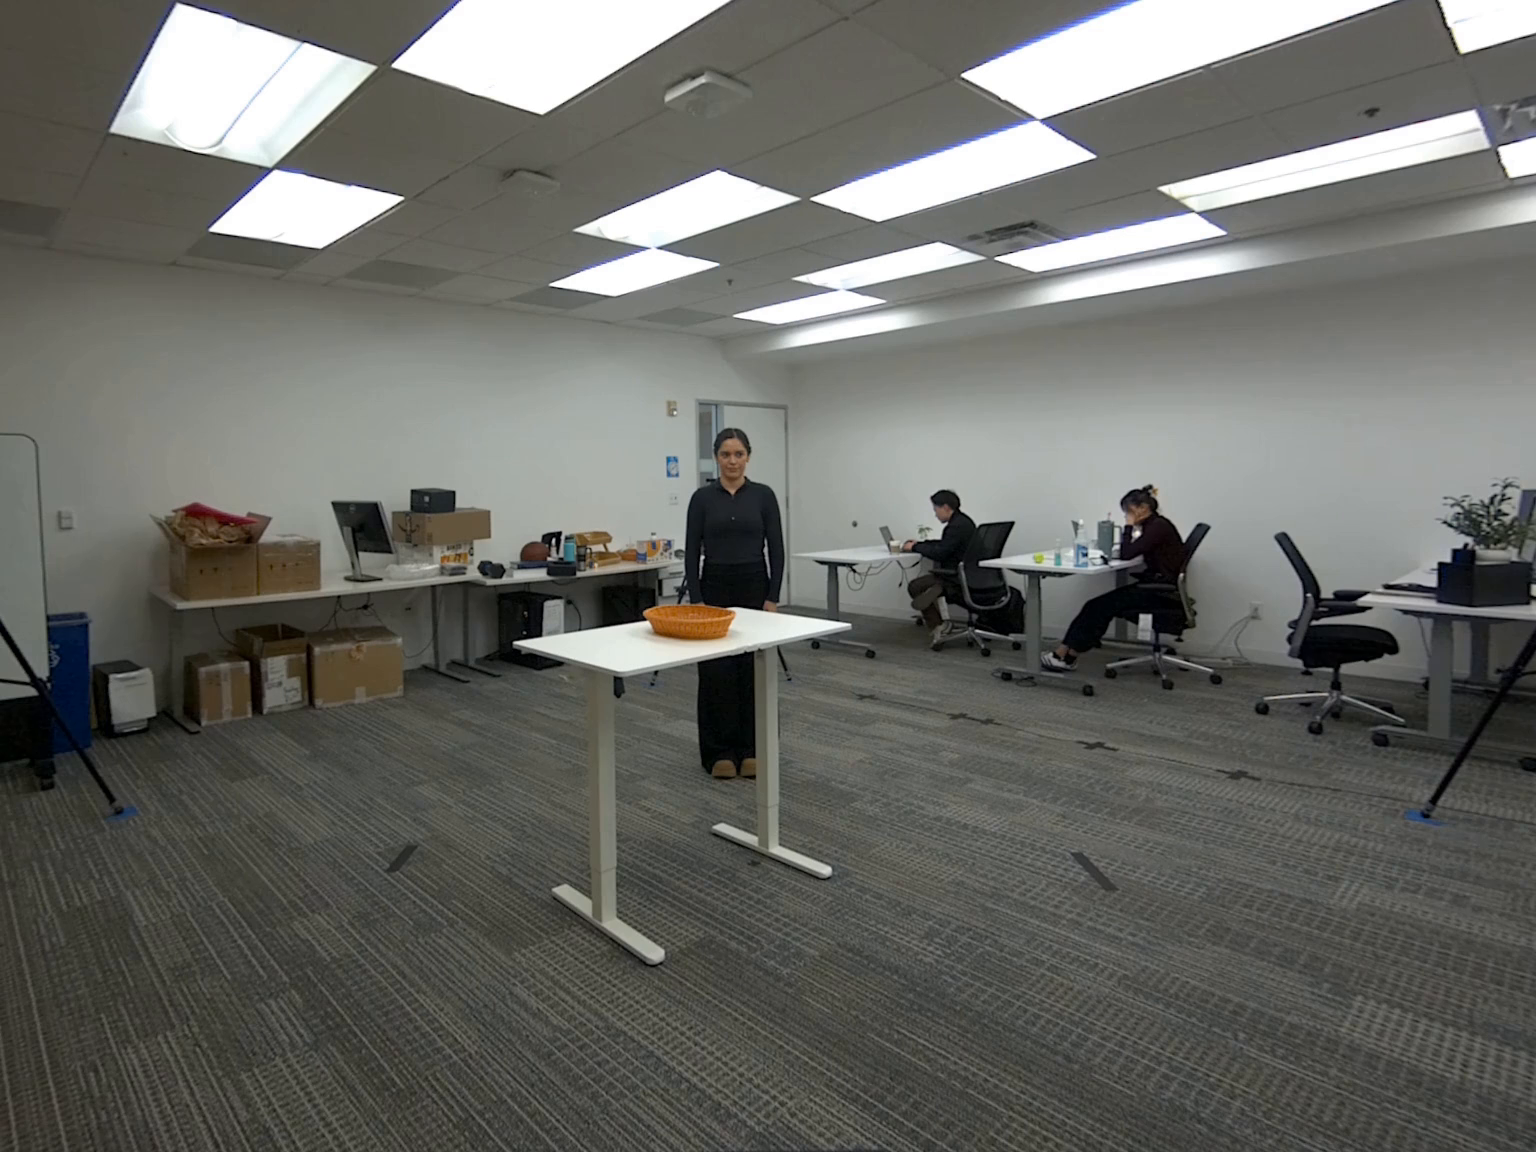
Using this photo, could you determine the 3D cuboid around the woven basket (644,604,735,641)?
[{"bbox_3d":[-0.277,0.164,2.881,0.246,0.073,0.361,-7,9,-40],"label":"woven basket"}]
